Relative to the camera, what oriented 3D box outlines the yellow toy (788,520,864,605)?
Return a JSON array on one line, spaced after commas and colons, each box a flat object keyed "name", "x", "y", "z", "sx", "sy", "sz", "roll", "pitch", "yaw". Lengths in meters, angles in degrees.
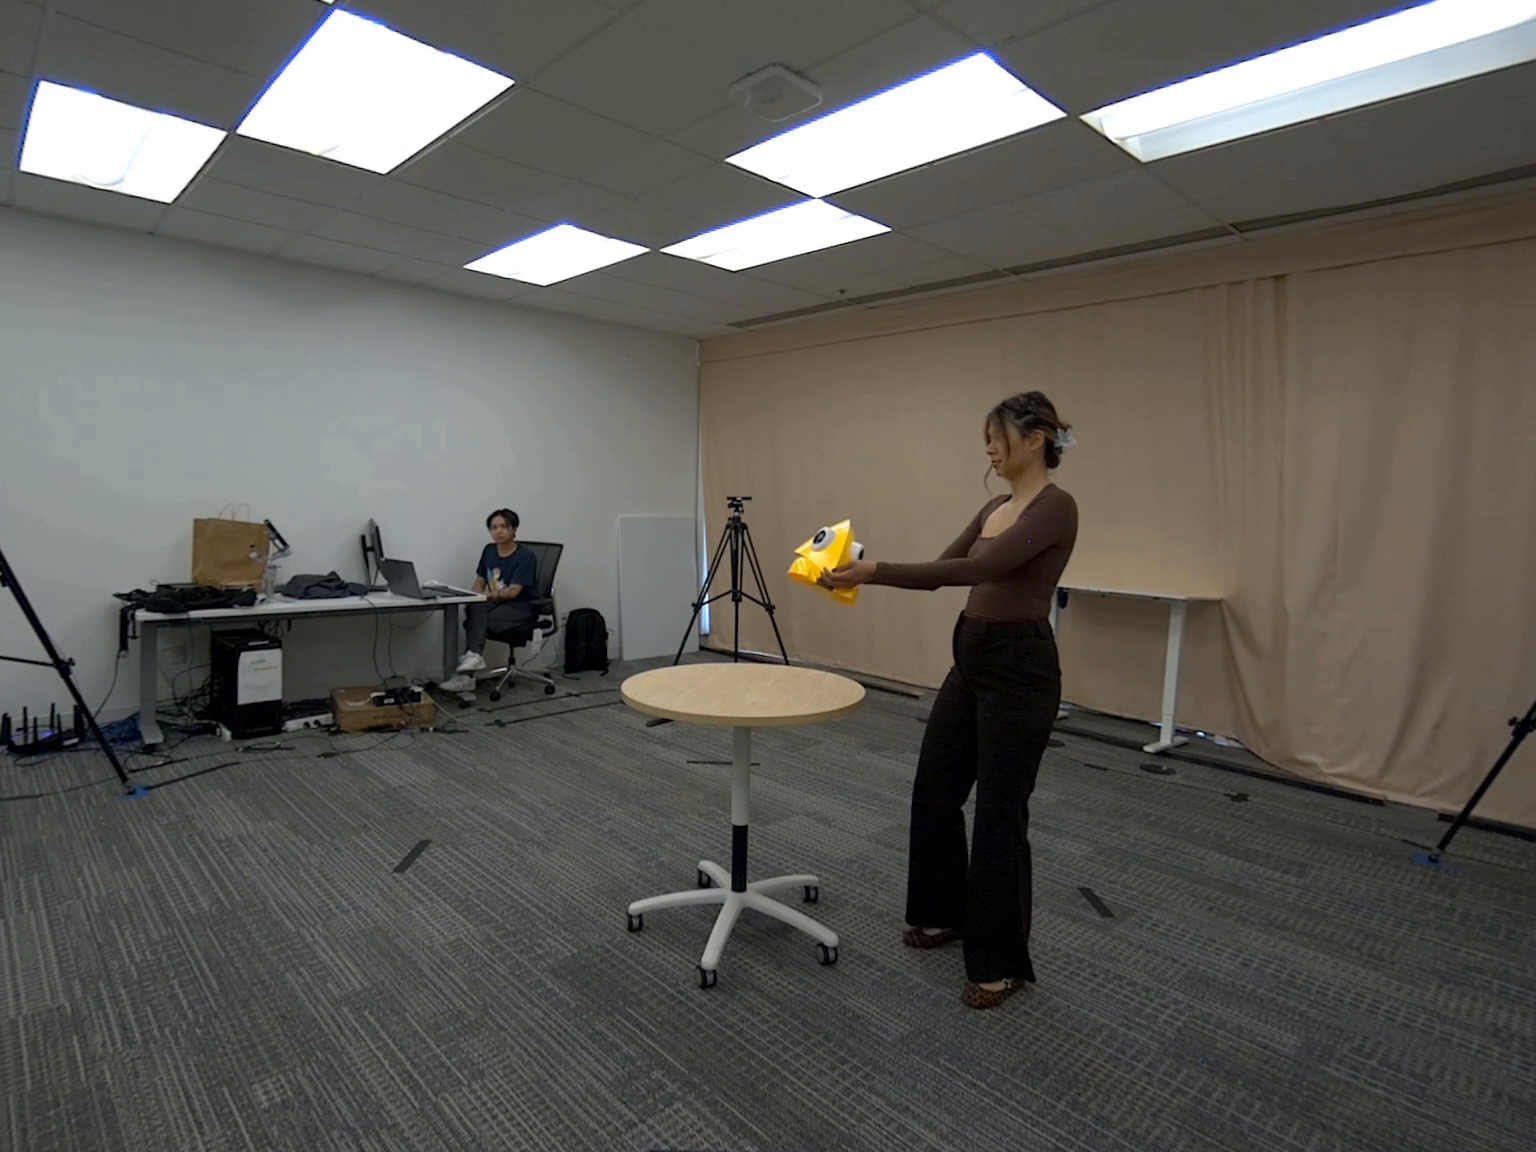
[{"name": "yellow toy", "x": 0.189, "y": -0.062, "z": 2.359, "sx": 0.204, "sy": 0.231, "sz": 0.193, "roll": 27, "pitch": -6, "yaw": -2}]
